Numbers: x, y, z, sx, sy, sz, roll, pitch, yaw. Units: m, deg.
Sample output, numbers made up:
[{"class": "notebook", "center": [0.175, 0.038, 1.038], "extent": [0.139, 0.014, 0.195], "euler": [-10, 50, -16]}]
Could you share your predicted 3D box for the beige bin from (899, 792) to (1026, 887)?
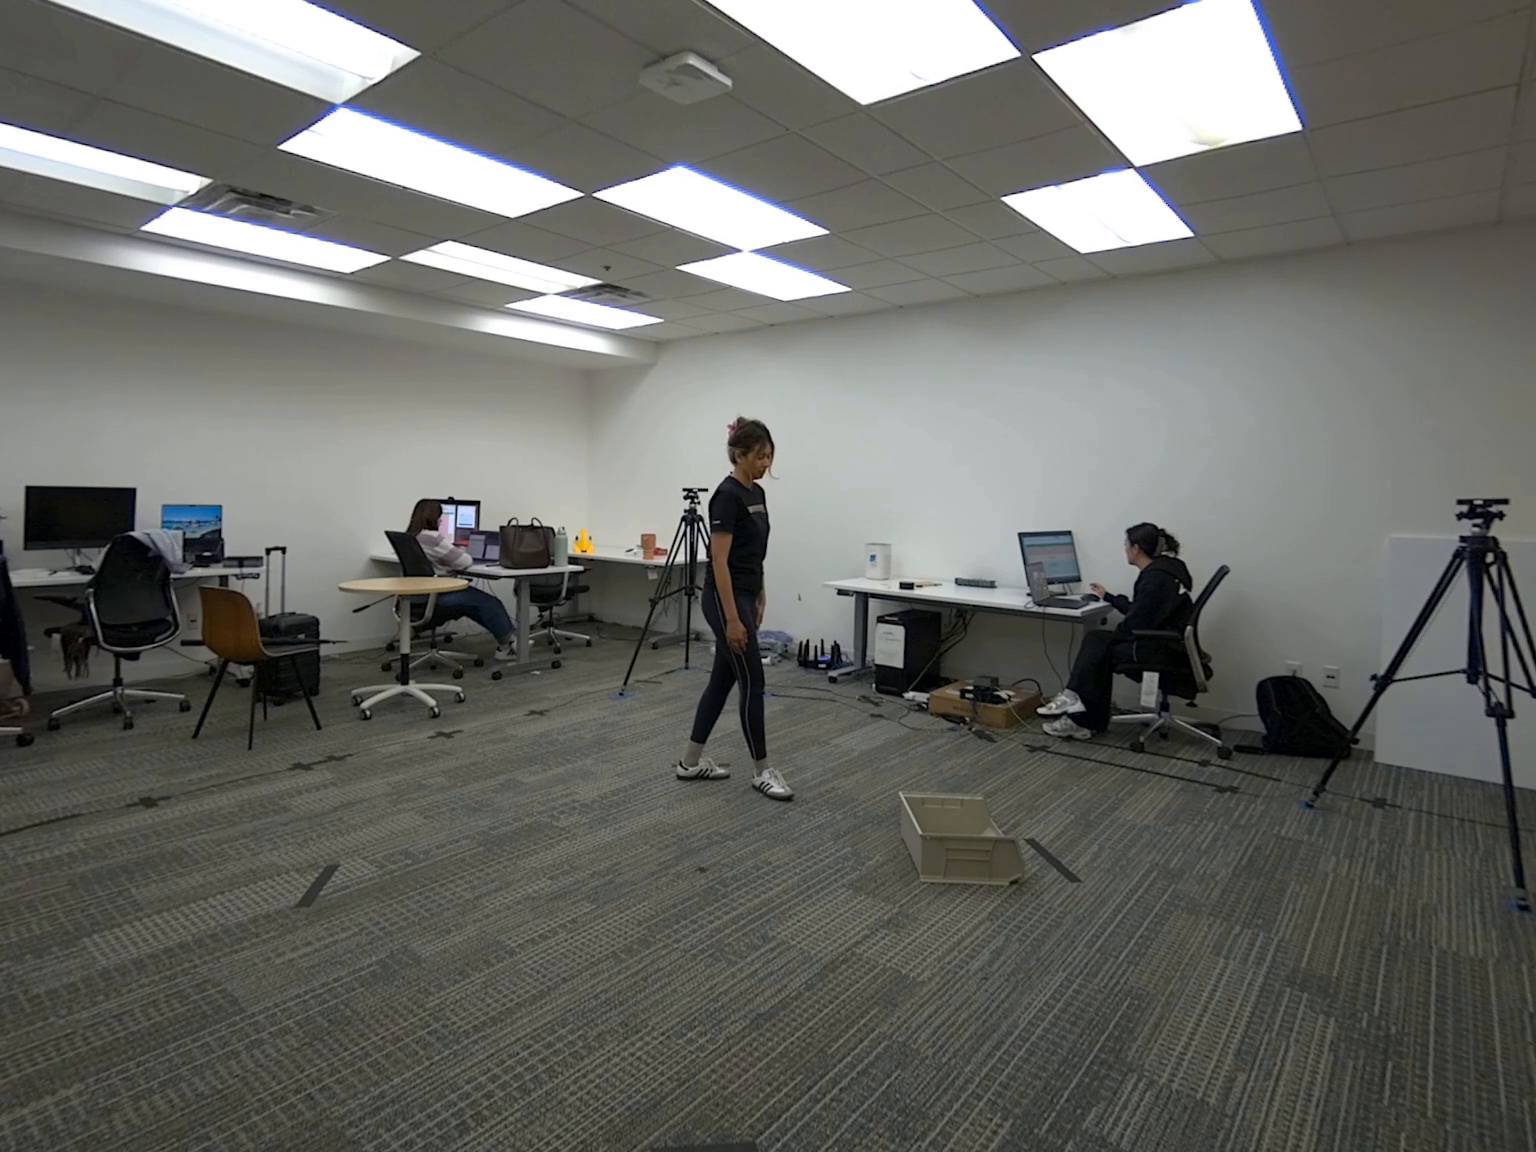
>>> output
[{"class": "beige bin", "center": [0.721, 0.988, 3.245], "extent": [0.378, 0.188, 0.424], "euler": [0, 6, 0]}]
